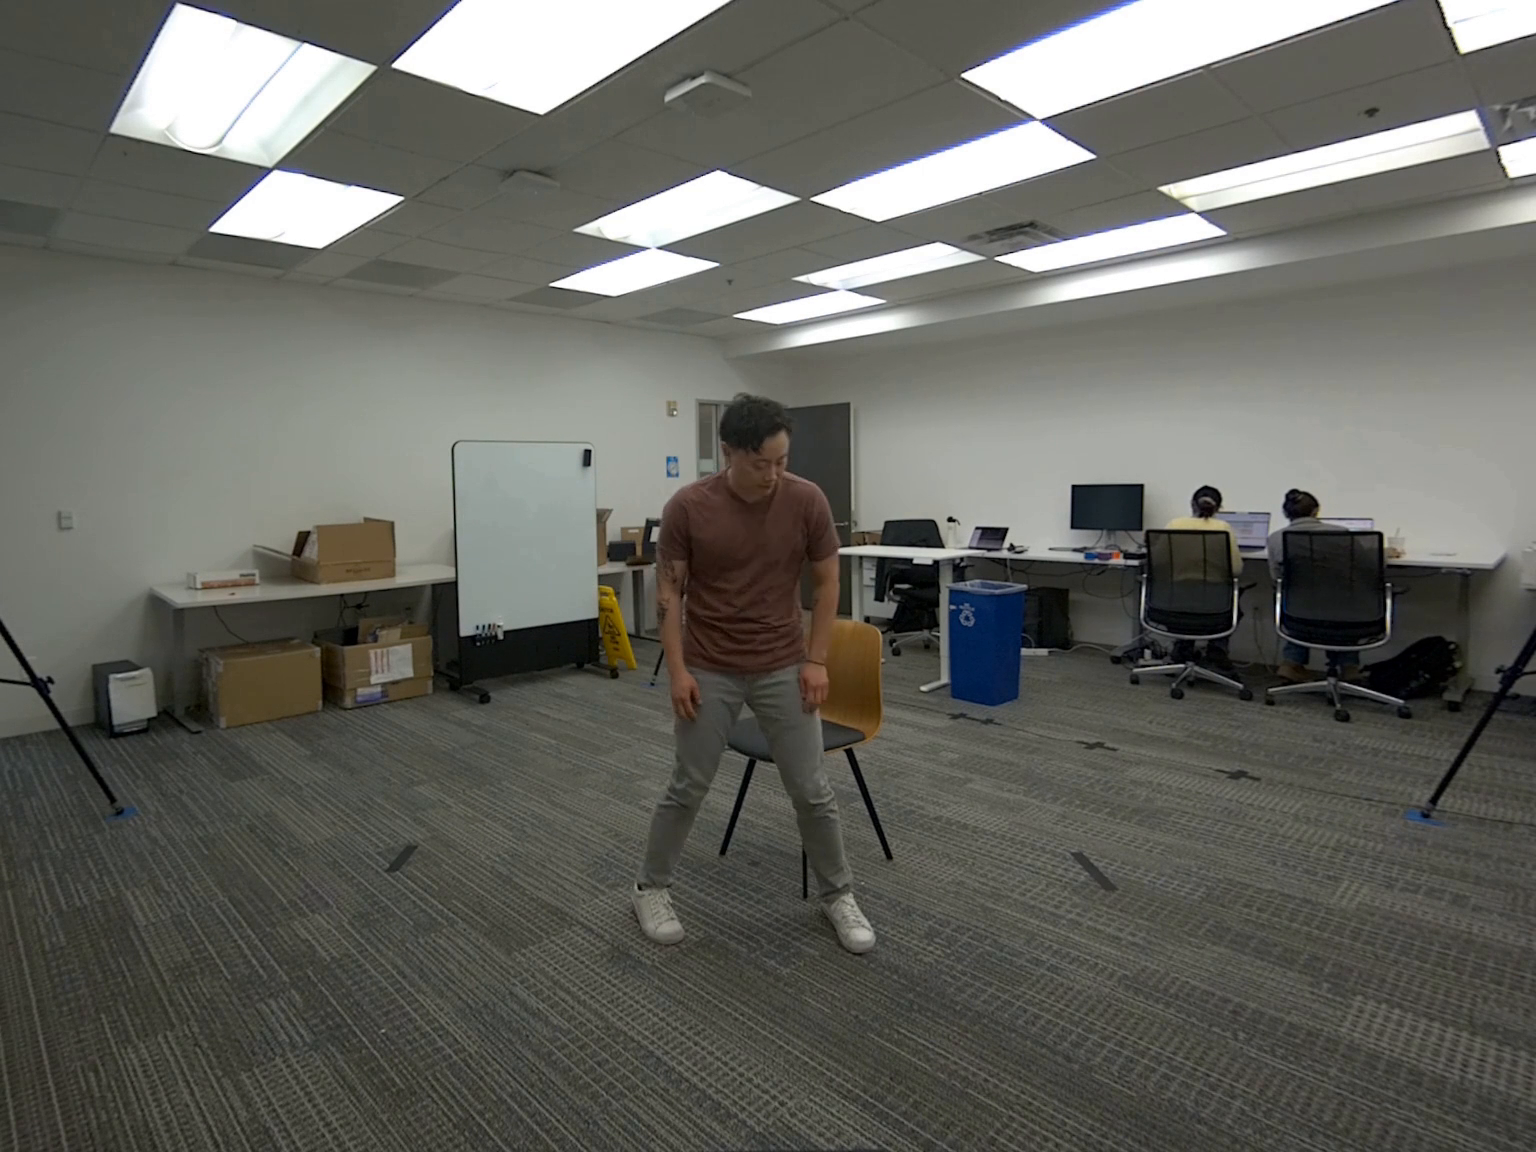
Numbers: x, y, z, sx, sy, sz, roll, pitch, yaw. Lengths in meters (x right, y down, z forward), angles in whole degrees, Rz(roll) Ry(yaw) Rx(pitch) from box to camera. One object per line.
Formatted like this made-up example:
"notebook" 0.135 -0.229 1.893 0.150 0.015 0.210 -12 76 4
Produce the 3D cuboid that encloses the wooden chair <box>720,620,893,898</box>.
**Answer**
"wooden chair" 0.128 0.612 3.108 0.508 0.876 0.493 1 2 -40
